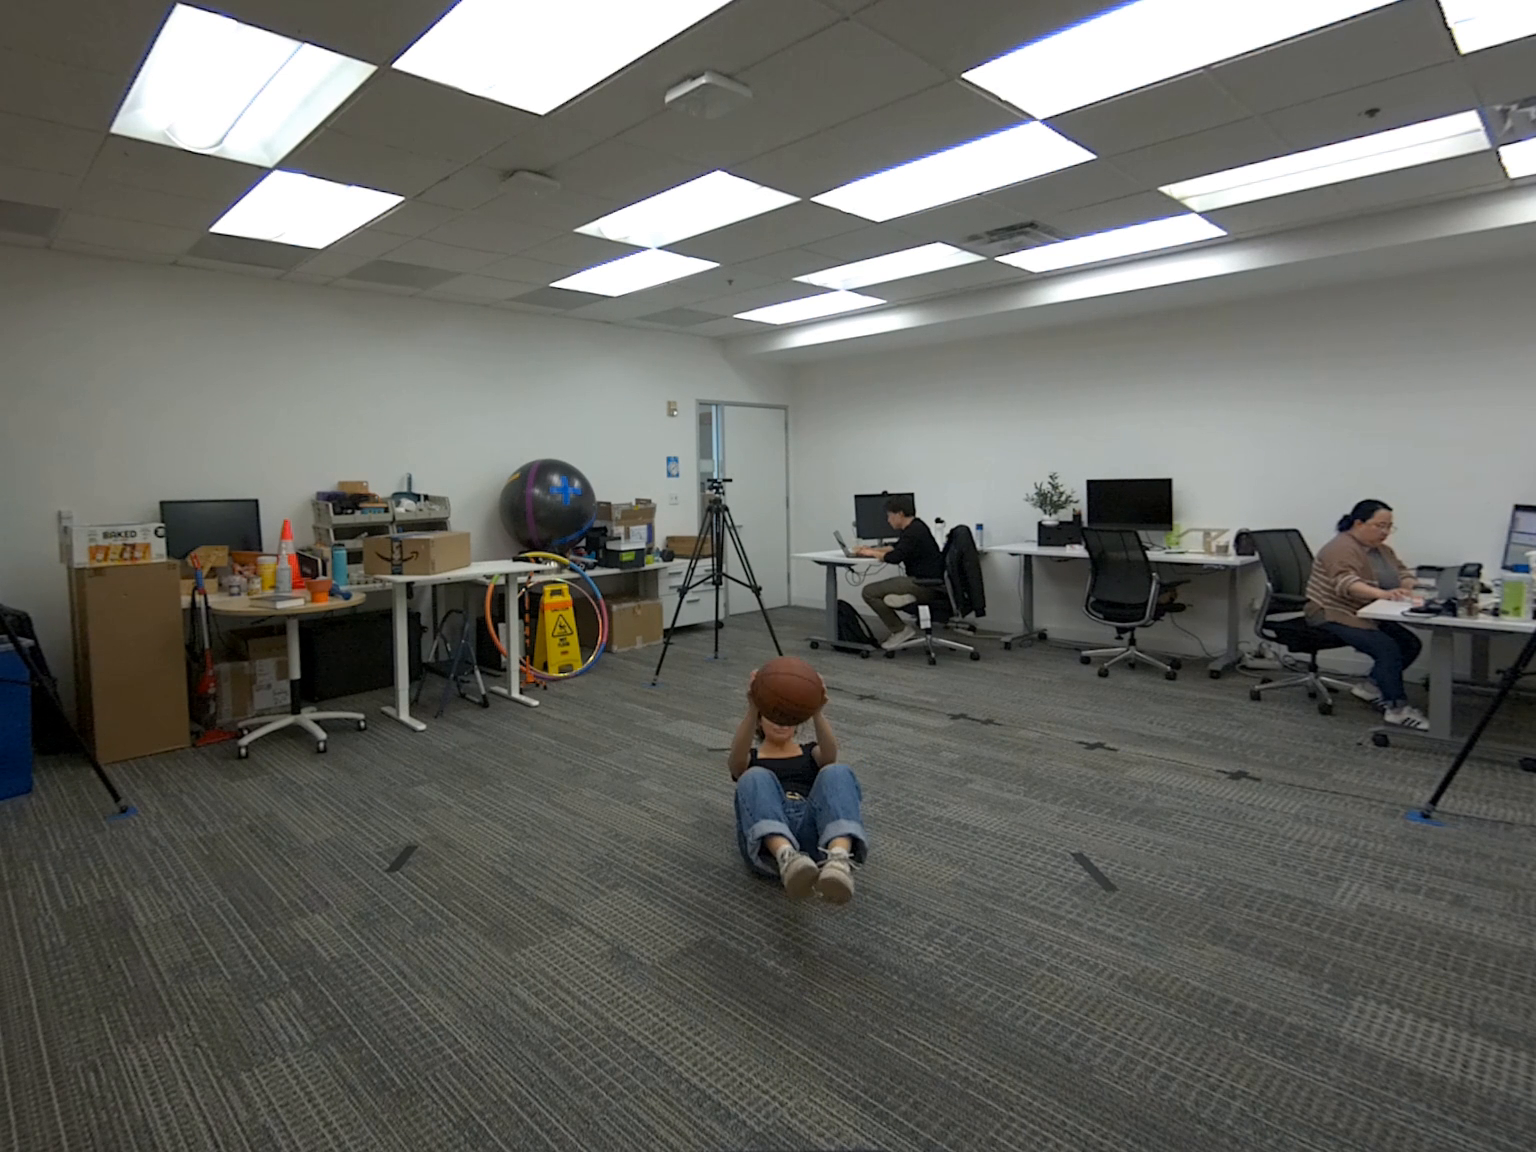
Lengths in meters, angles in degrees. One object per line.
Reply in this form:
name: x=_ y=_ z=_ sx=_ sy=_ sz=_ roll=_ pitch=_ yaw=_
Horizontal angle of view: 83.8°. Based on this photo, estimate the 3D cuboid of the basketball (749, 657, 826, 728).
basketball: x=0.067 y=0.402 z=2.956 sx=0.236 sy=0.235 sz=0.237 roll=-1 pitch=5 yaw=-2
